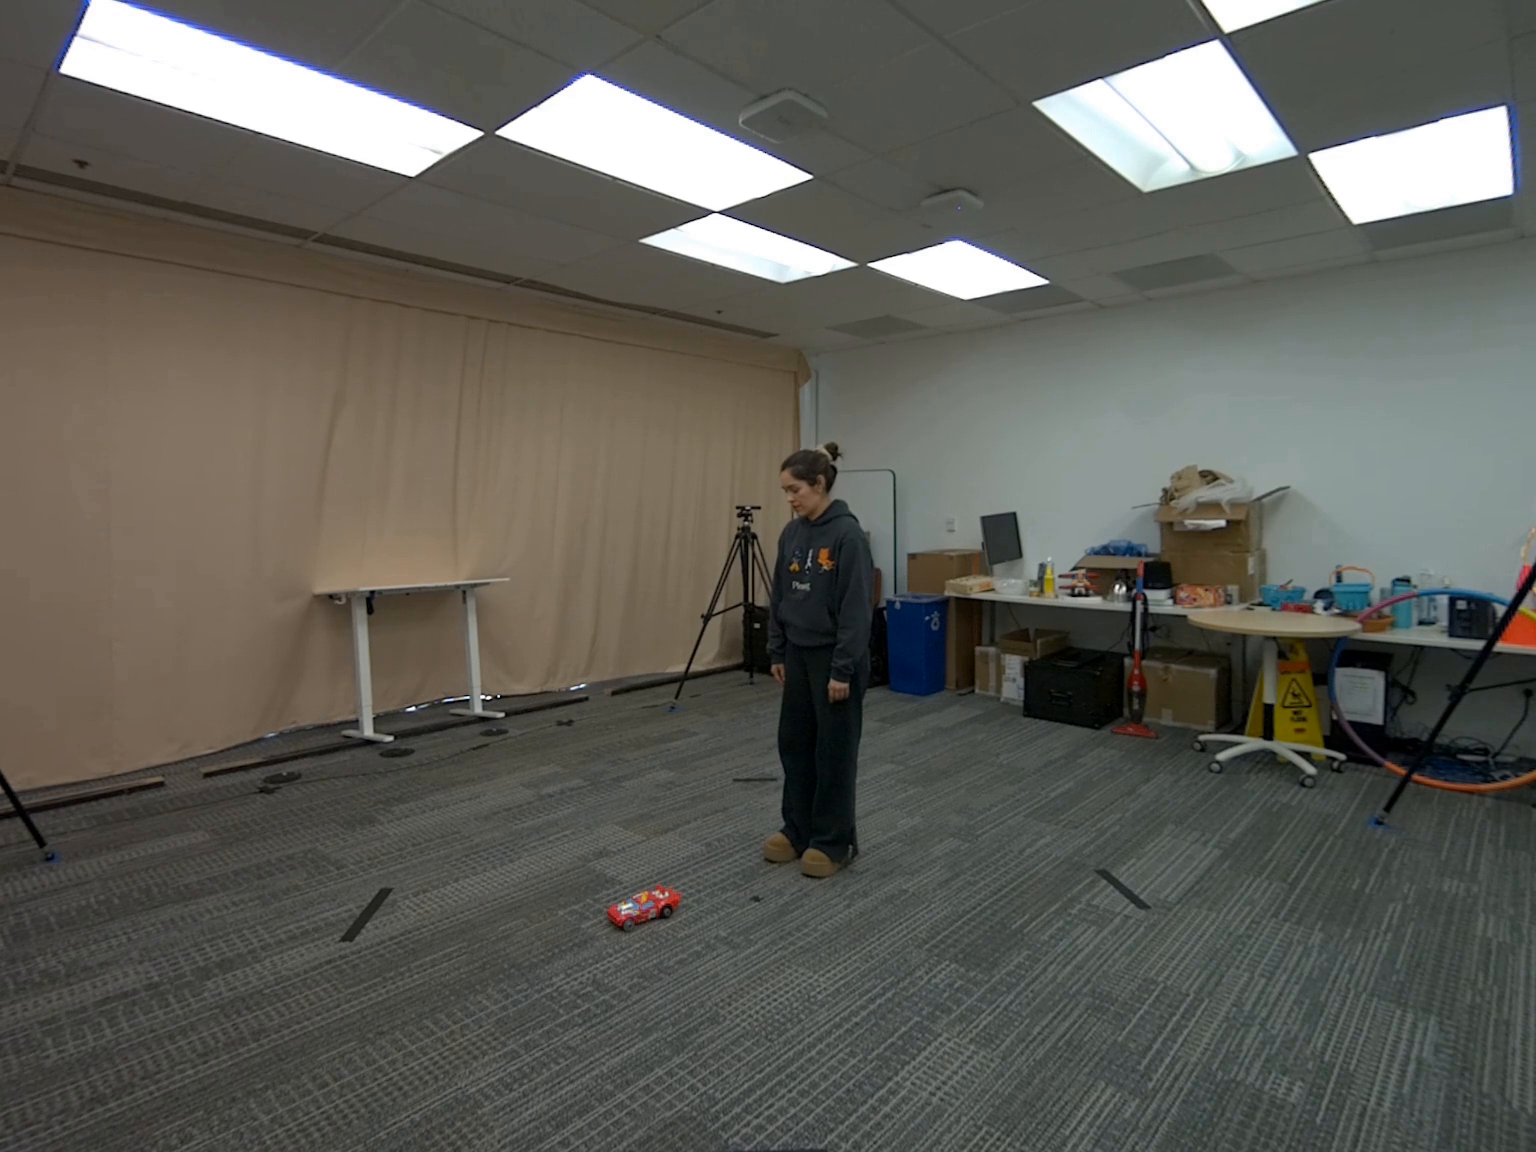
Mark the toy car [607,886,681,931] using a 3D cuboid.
[{"bbox_3d":[-0.397,1.127,2.857,0.249,0.082,0.134,-18,12,-34],"label":"toy car"}]
